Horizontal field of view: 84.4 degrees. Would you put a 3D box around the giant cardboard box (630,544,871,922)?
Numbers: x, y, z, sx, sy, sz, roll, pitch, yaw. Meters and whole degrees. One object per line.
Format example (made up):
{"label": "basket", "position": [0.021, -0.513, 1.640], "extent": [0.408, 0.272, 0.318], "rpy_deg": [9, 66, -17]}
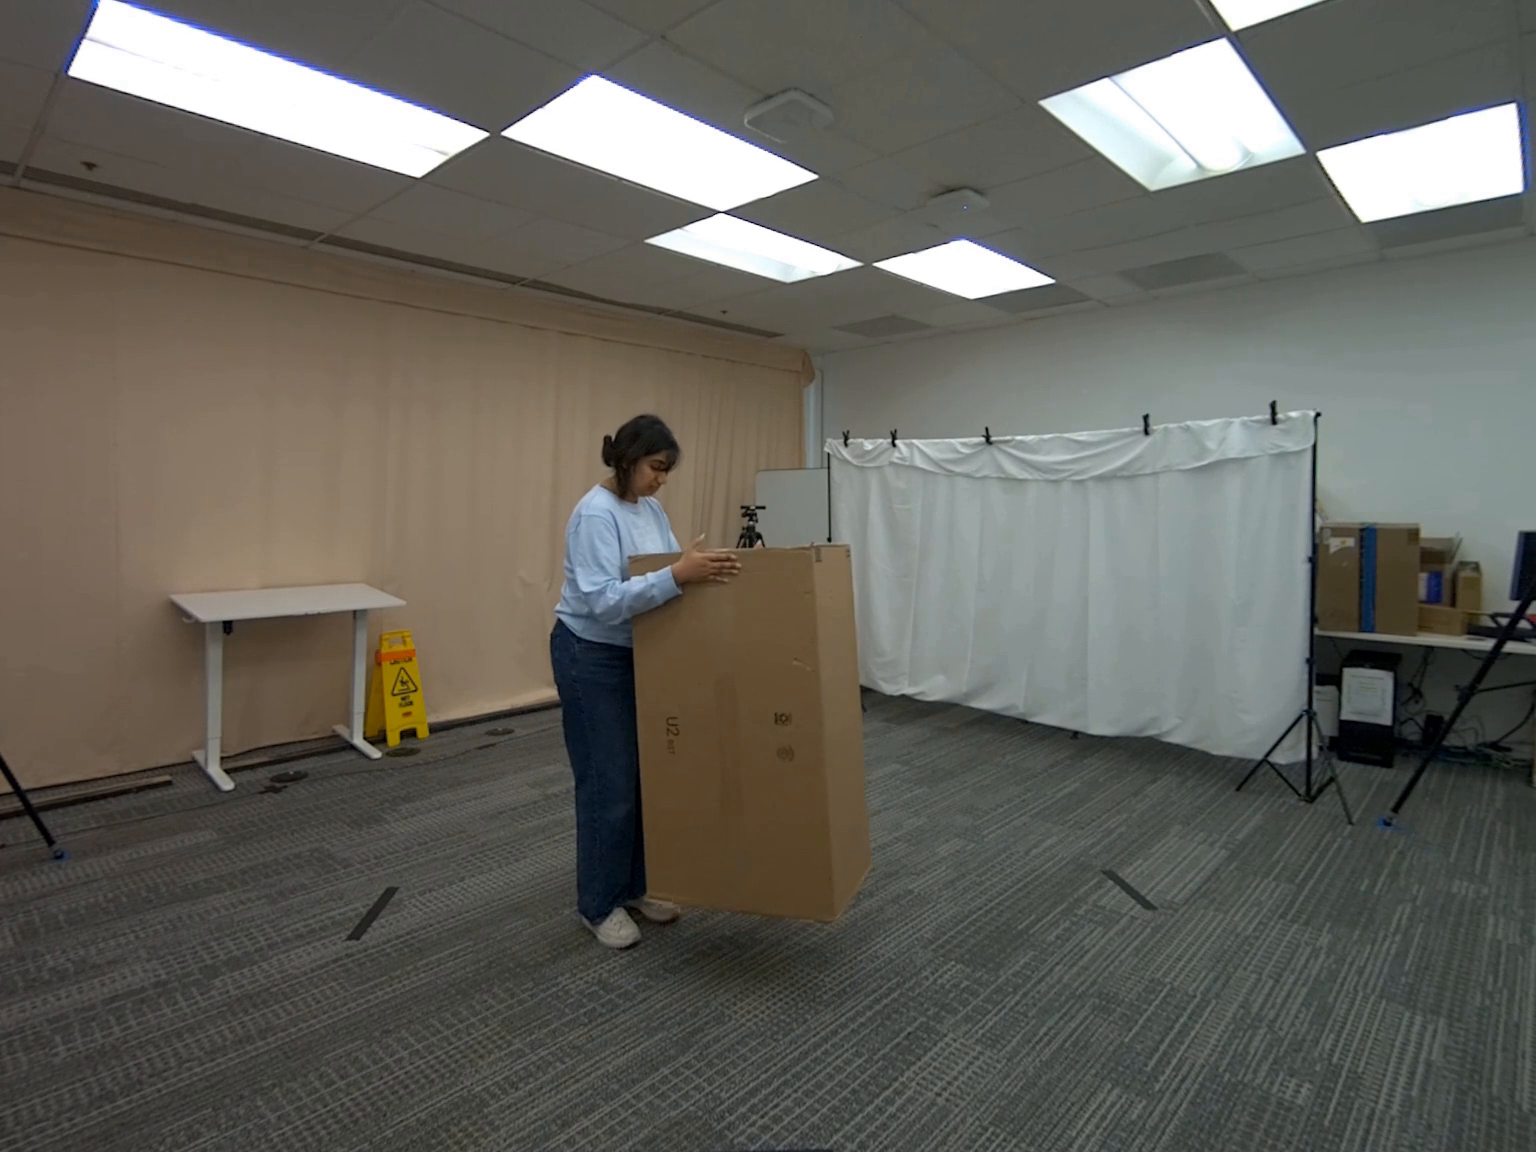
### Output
{"label": "giant cardboard box", "position": [-0.039, 0.434, 2.563], "extent": [0.597, 1.028, 0.436], "rpy_deg": [-4, -2, 23]}
